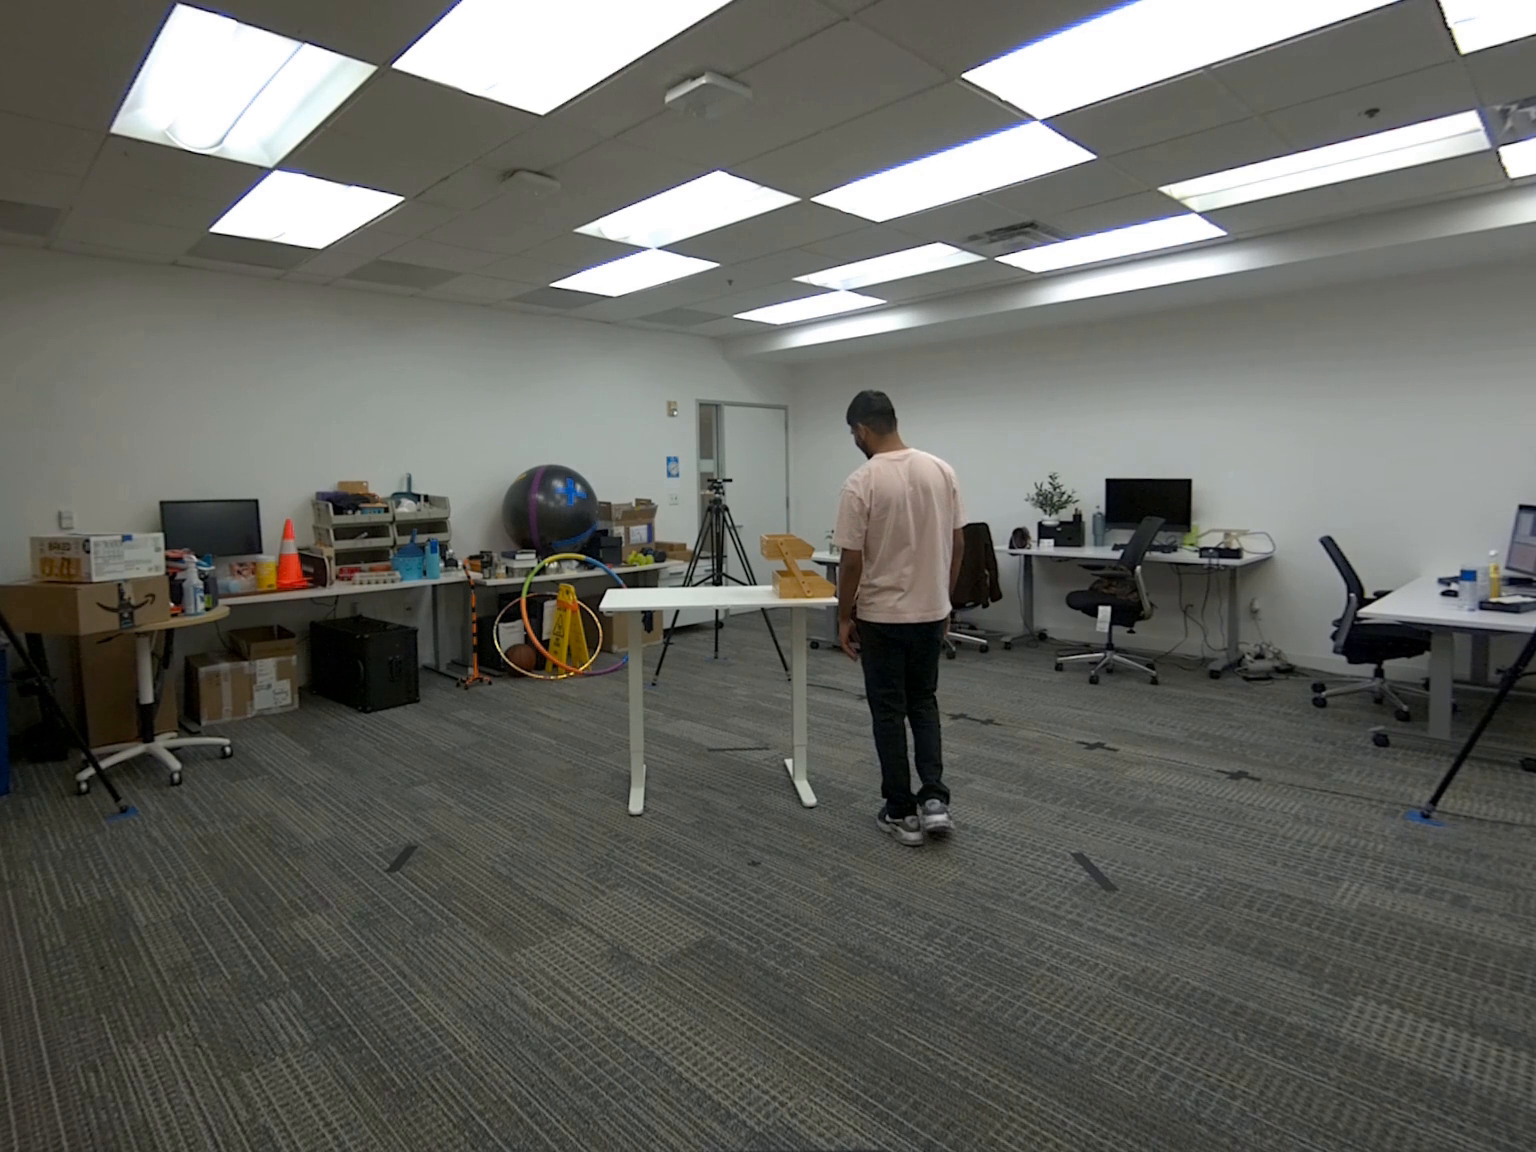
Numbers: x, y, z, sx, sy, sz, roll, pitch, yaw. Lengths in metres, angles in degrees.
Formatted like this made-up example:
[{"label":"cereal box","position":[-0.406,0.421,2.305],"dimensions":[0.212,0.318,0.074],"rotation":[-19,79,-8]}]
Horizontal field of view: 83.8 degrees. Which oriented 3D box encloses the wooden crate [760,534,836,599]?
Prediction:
[{"label":"wooden crate","position":[0.137,-0.050,3.837],"dimensions":[0.301,0.272,0.327],"rotation":[-2,5,-4]}]
